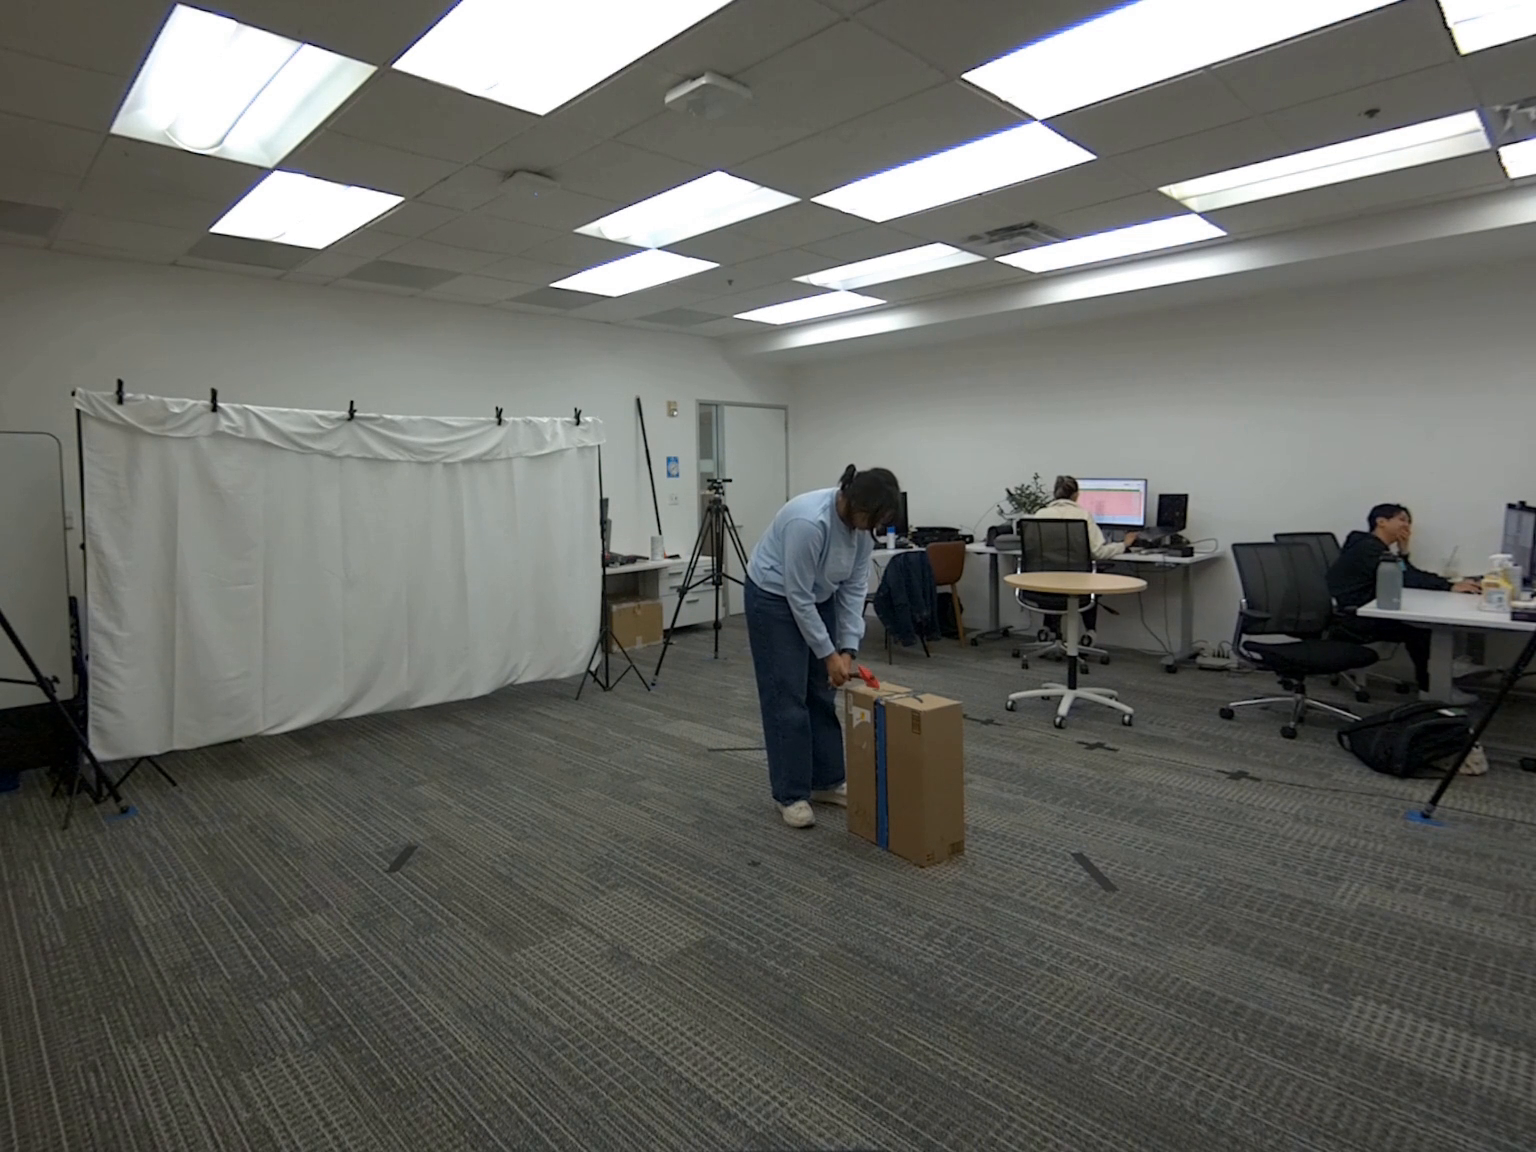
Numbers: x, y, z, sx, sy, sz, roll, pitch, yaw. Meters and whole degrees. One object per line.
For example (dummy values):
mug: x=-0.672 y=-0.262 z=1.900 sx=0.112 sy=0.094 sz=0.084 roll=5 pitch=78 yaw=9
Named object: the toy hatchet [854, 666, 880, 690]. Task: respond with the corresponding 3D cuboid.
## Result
toy hatchet: x=0.373 y=0.416 z=3.334 sx=0.131 sy=0.030 sz=0.269 roll=37 pitch=-21 yaw=-1
